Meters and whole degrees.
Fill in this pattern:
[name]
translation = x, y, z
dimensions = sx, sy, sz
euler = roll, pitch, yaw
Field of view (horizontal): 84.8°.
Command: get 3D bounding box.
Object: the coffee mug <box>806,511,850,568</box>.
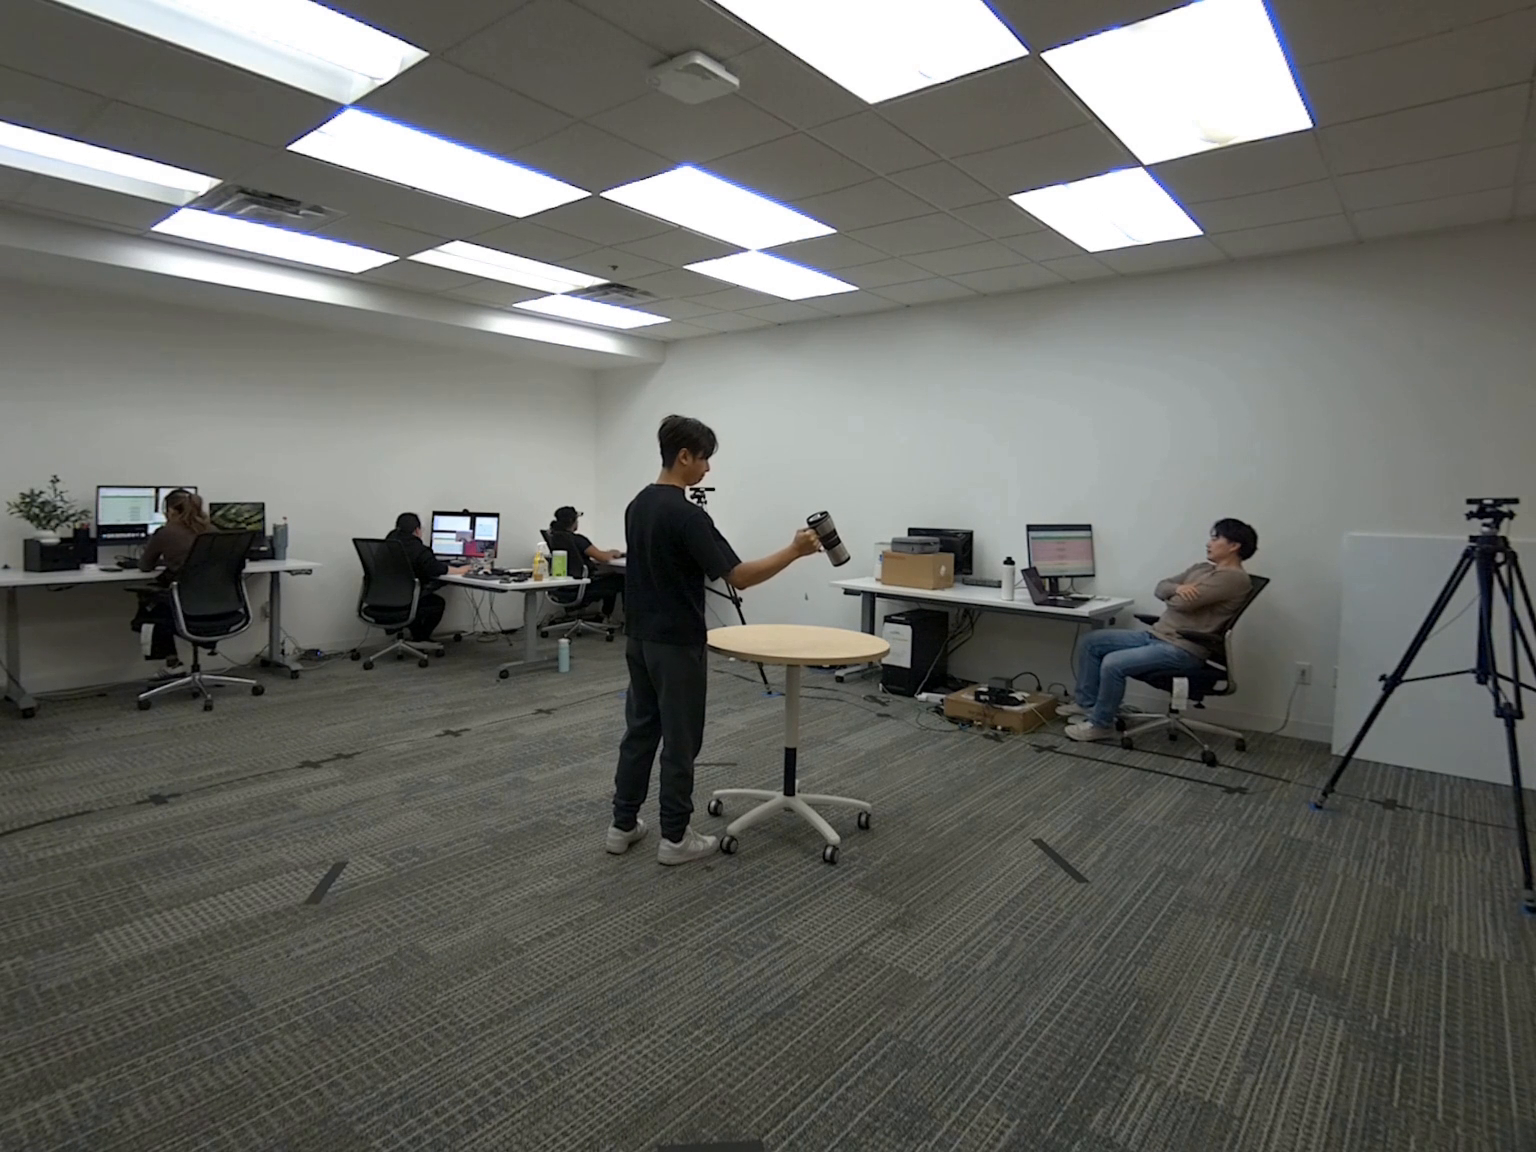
[coffee mug]
translation = 0.199, -0.128, 3.116
dimensions = 0.122, 0.199, 0.089
euler = -25, 16, 4
